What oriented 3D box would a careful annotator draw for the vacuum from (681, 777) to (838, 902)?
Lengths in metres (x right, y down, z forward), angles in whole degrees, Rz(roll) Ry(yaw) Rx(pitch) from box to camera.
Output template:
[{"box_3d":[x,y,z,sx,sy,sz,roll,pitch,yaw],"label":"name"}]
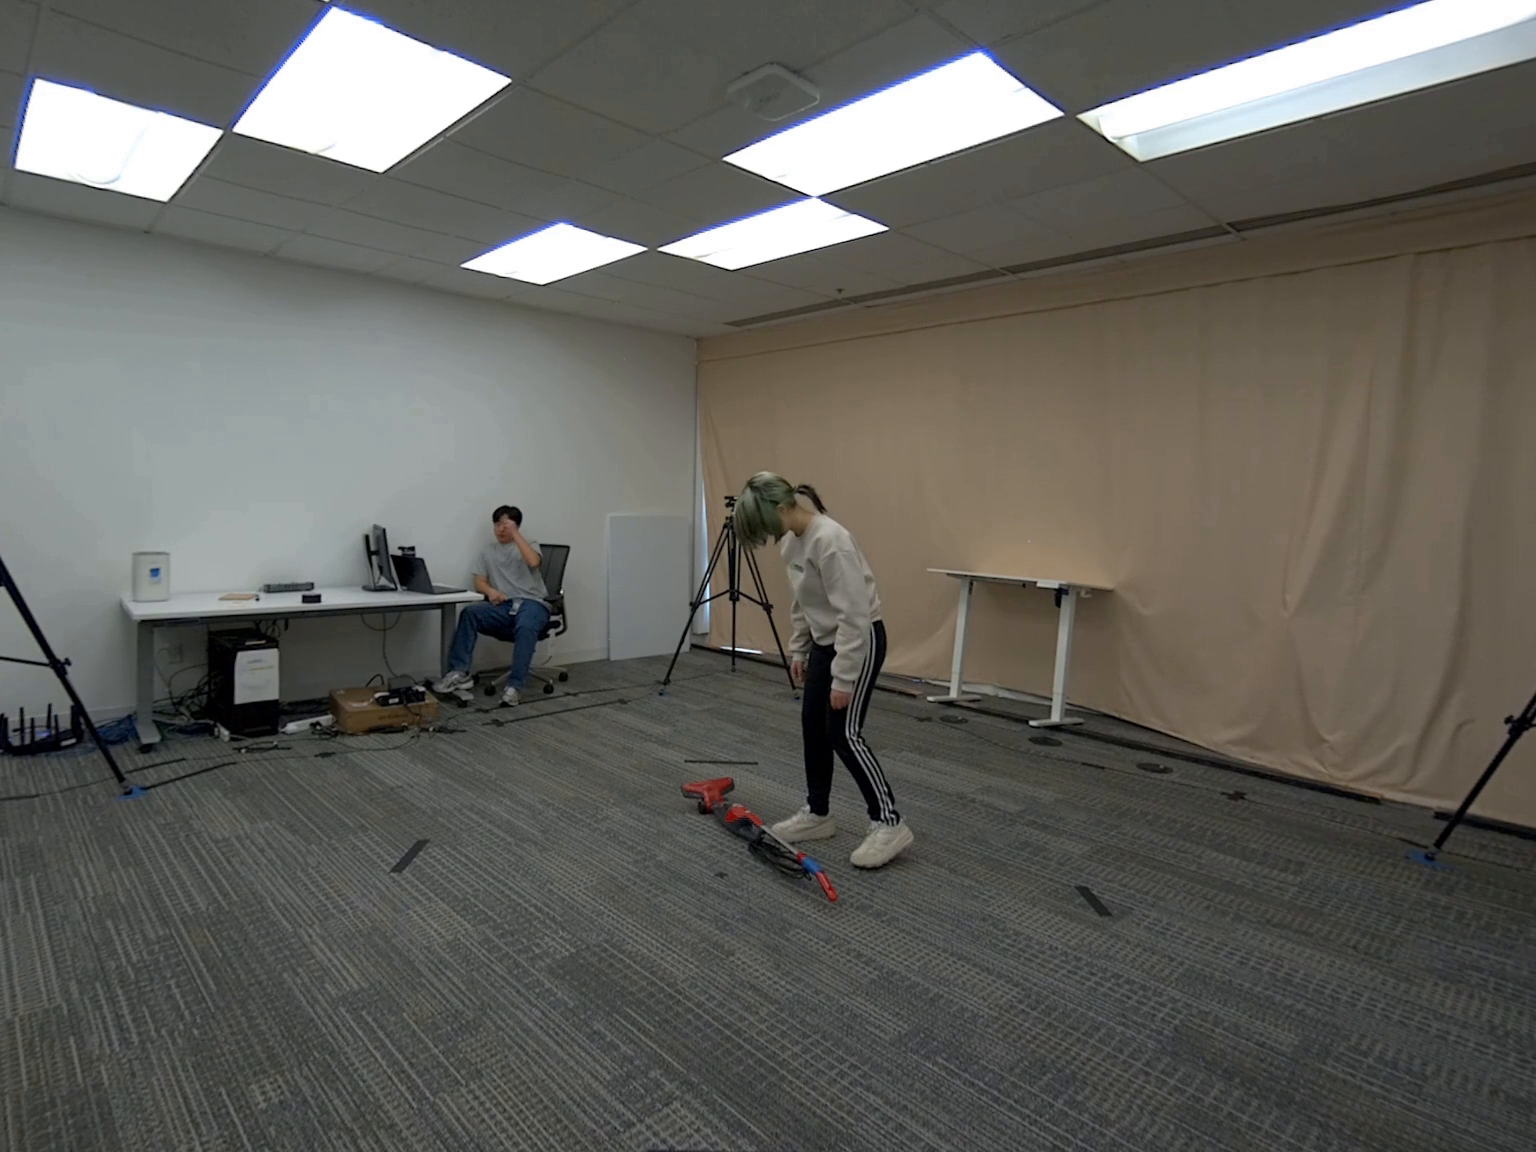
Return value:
[{"box_3d":[-0.023,1.029,3.299,0.248,0.143,1.072,-1,6,-27],"label":"vacuum"}]
